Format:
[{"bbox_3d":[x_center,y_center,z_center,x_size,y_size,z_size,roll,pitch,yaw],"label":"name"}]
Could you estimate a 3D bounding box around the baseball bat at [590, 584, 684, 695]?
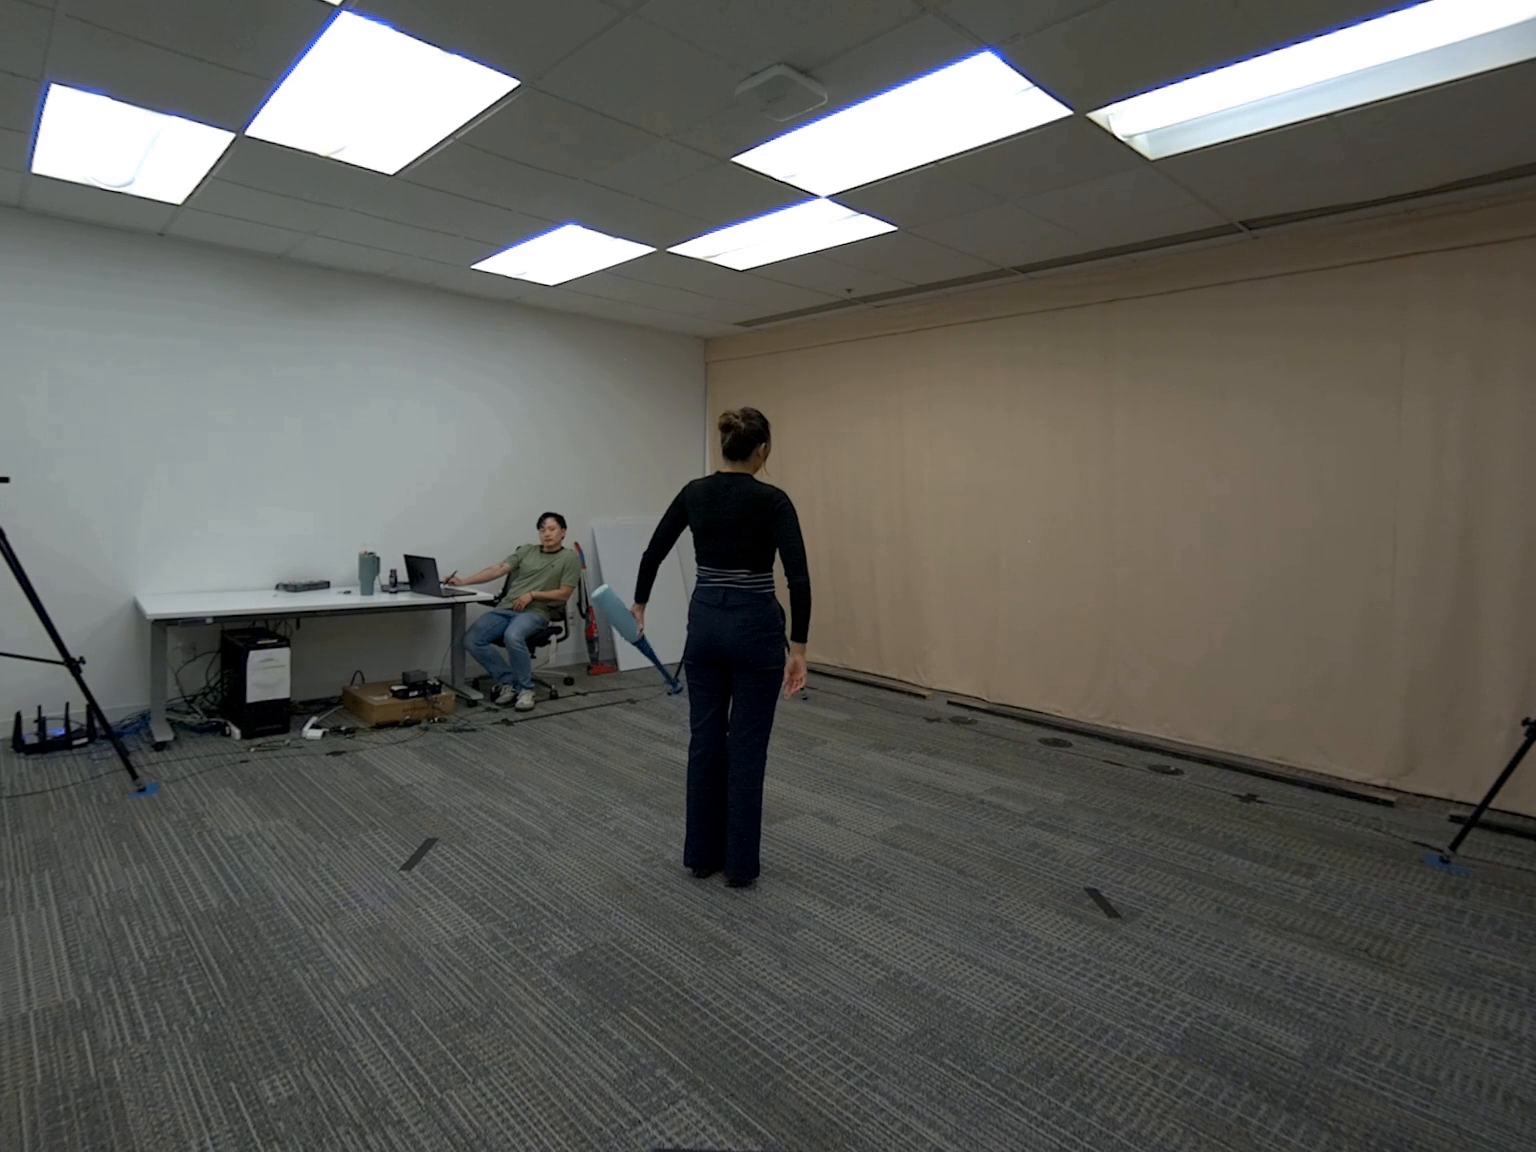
[{"bbox_3d":[-0.501,0.254,3.329,0.089,0.533,0.090,-32,19,12],"label":"baseball bat"}]
